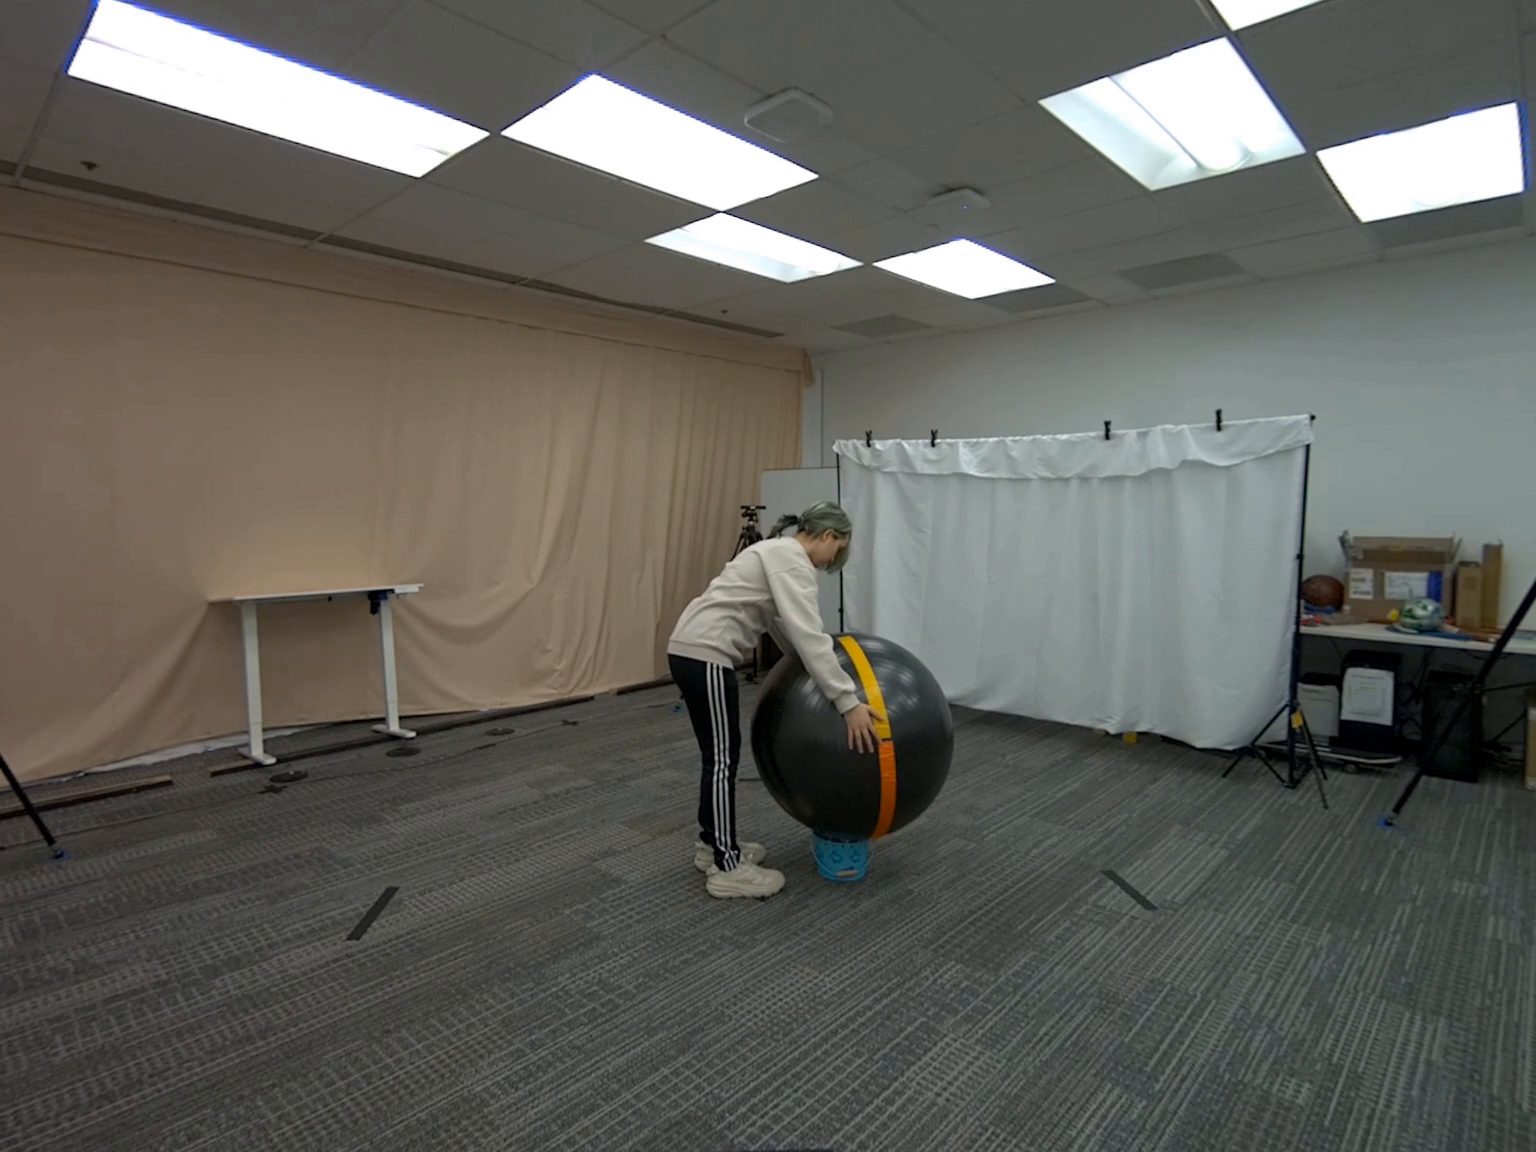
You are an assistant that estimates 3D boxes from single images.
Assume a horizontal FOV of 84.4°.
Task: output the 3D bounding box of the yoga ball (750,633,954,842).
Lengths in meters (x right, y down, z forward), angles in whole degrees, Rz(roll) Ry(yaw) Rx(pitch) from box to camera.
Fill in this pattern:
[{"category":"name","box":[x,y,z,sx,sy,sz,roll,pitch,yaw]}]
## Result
[{"category":"yoga ball","box":[0.327,0.600,3.190,0.757,0.756,0.761,0,4,-2]}]
